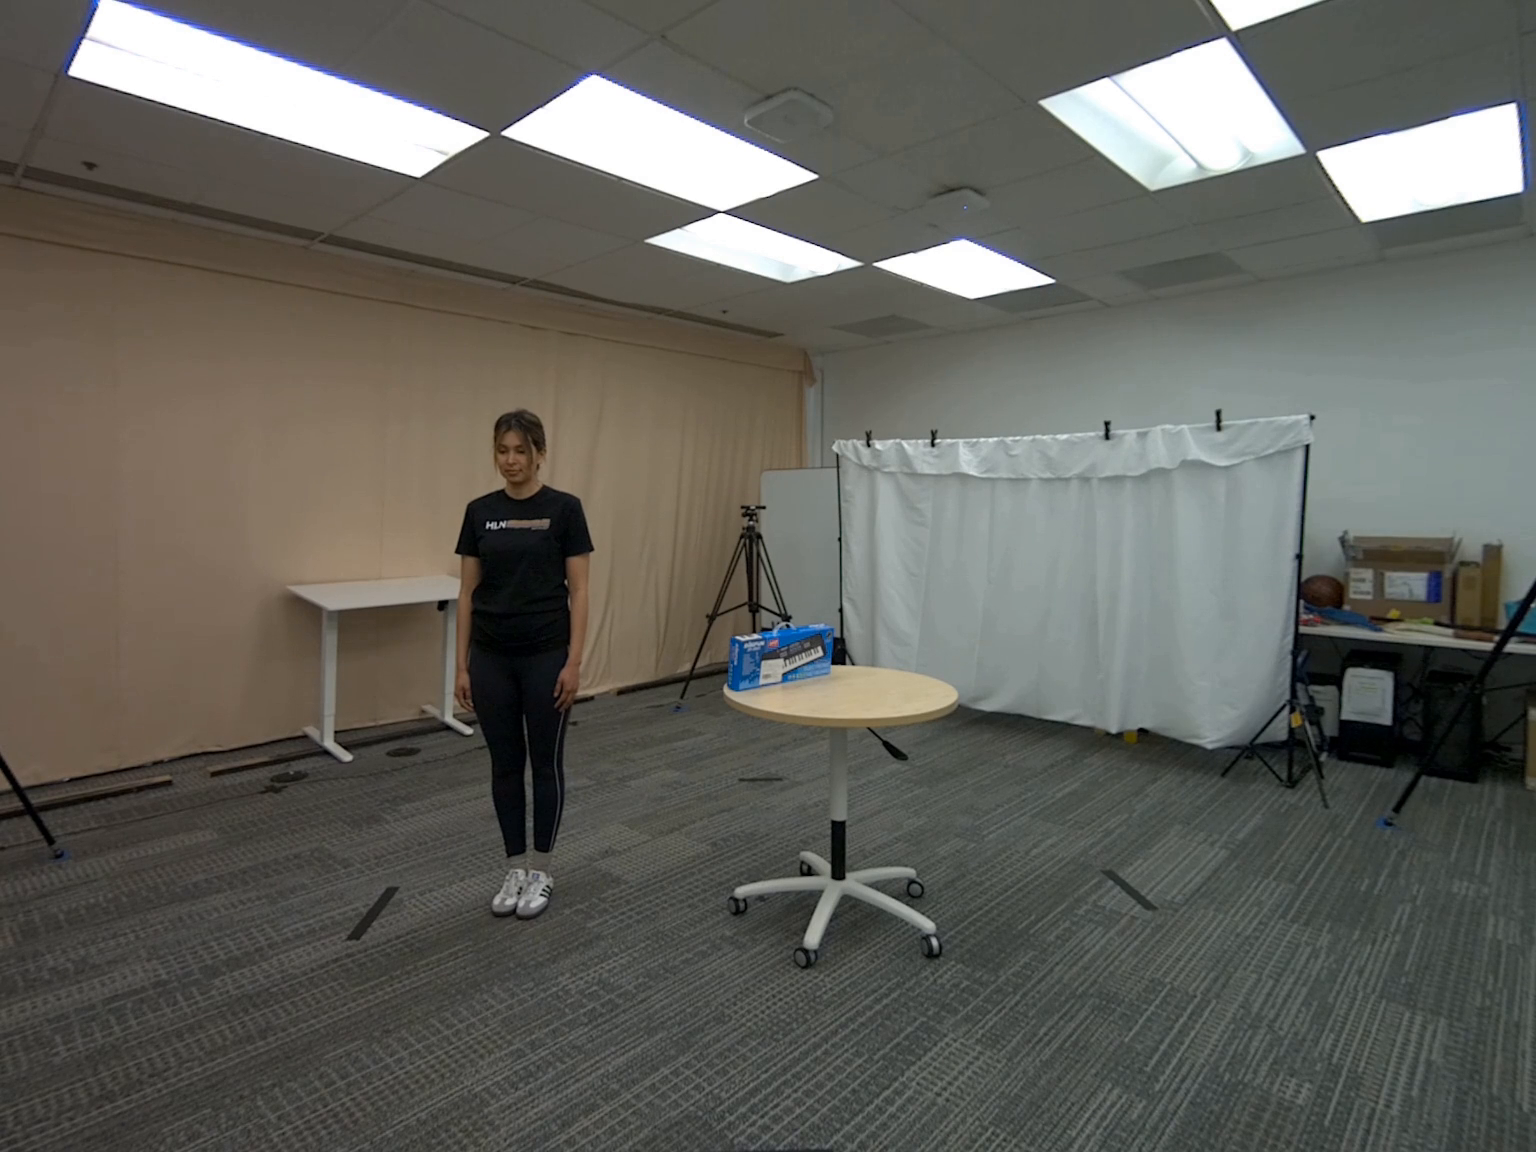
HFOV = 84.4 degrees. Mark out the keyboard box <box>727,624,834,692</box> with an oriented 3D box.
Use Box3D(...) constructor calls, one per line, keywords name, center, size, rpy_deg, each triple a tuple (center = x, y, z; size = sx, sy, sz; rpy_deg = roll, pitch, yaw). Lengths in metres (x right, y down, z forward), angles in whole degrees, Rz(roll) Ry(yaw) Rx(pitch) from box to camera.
Box3D(name="keyboard box", center=(0.056, 0.279, 2.892), size=(0.424, 0.175, 0.061), rpy_deg=(-5, 13, -40))
